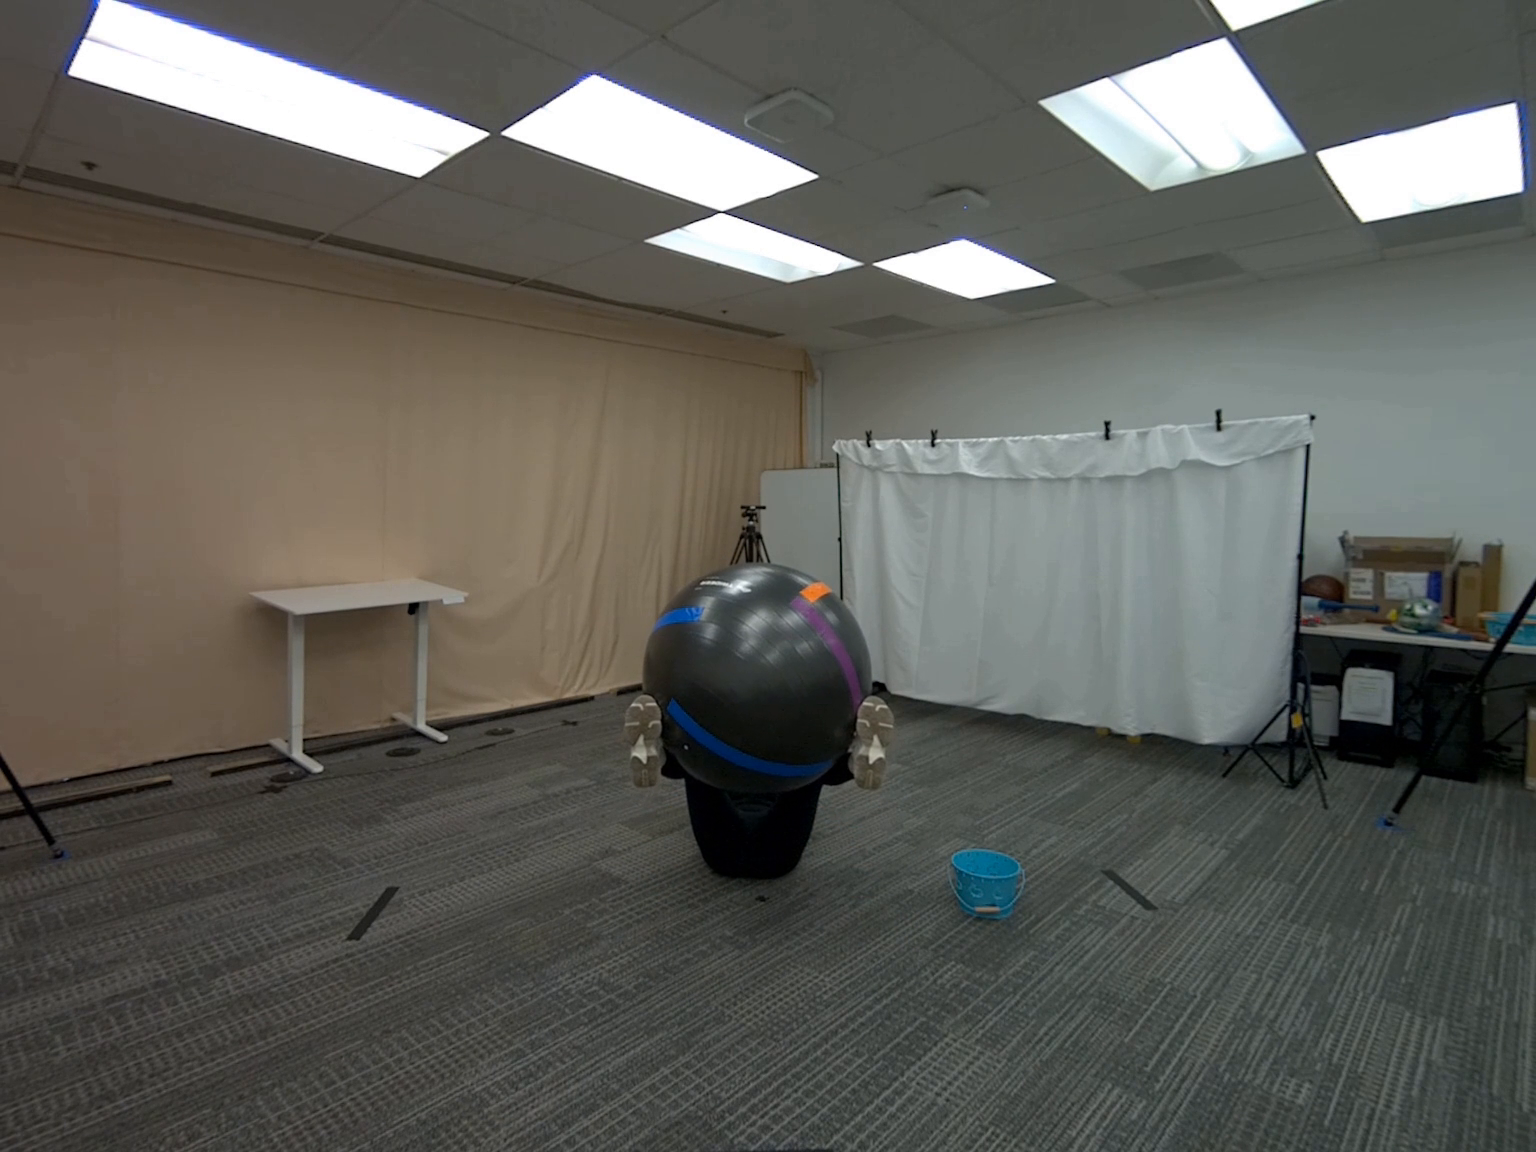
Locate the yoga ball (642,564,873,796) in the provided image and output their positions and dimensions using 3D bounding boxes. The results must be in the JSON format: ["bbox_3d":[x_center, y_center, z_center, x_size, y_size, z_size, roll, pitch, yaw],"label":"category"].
[{"bbox_3d":[-0.044,0.339,2.791,0.757,0.756,0.760,0,4,-2],"label":"yoga ball"}]
